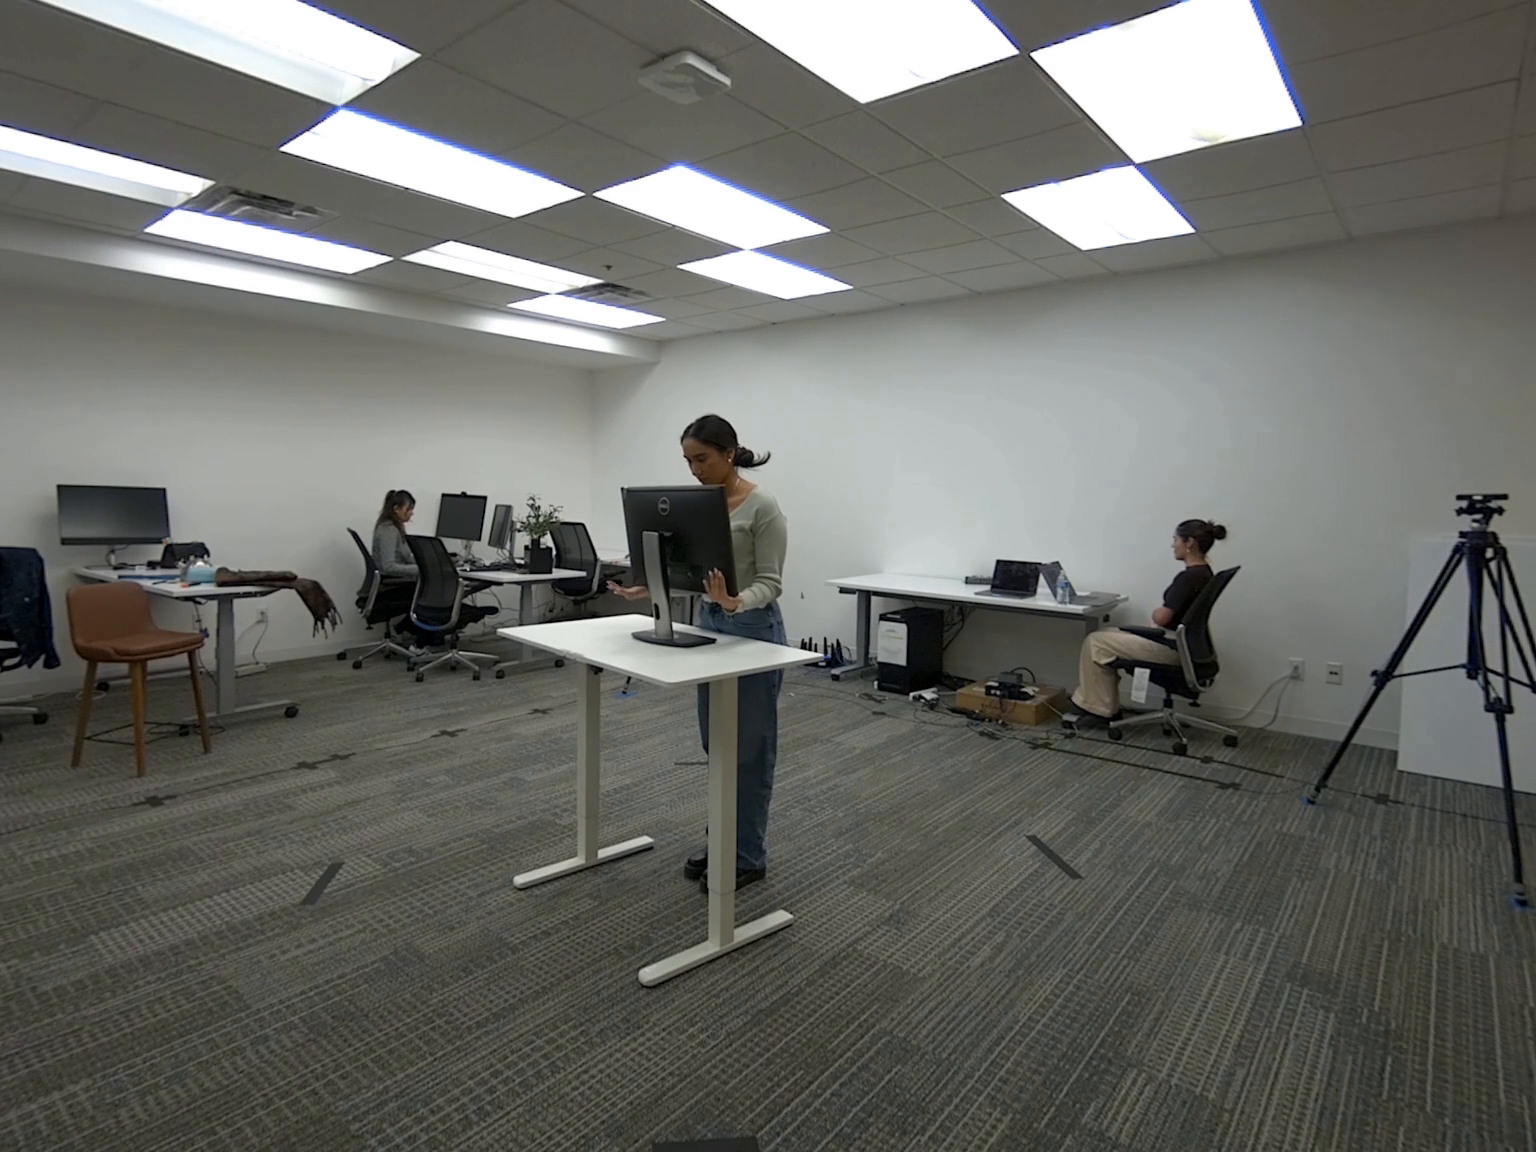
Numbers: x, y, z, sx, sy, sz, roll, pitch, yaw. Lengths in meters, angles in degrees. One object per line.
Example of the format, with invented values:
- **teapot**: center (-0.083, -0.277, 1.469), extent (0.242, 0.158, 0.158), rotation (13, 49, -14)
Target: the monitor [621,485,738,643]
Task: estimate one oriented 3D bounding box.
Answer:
- **monitor**: center (-0.327, -0.036, 2.803), extent (0.181, 0.521, 0.557), rotation (0, 4, -45)
